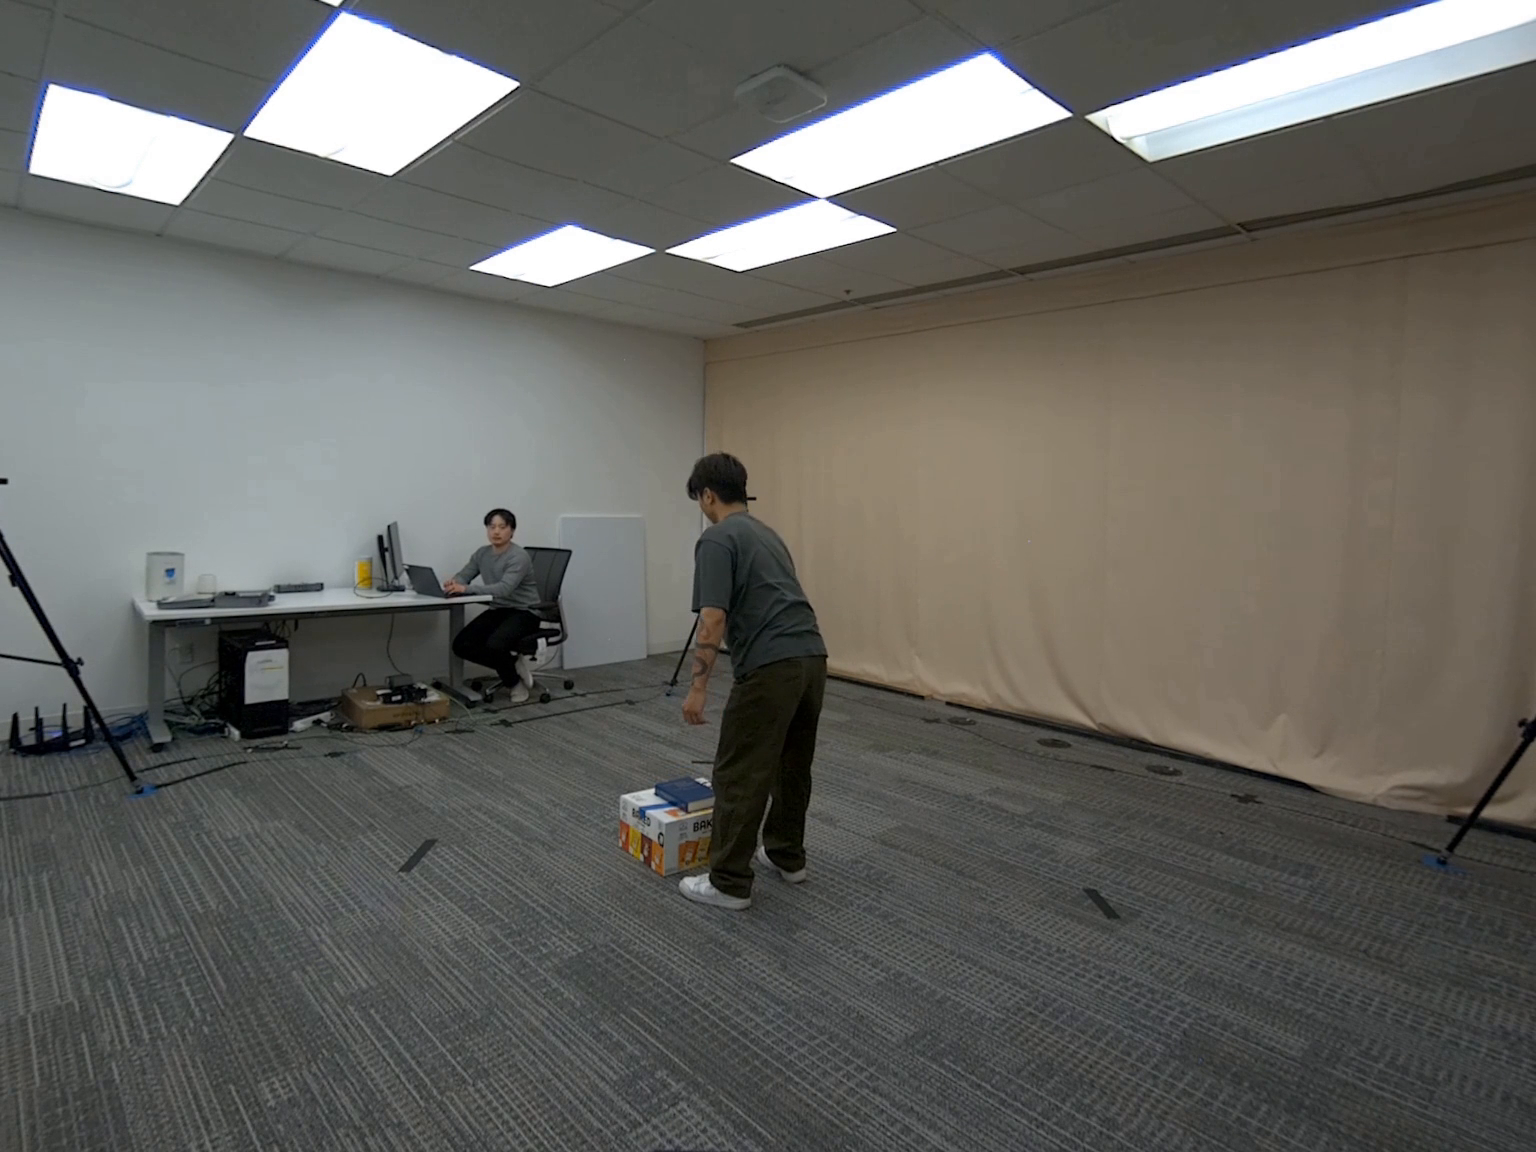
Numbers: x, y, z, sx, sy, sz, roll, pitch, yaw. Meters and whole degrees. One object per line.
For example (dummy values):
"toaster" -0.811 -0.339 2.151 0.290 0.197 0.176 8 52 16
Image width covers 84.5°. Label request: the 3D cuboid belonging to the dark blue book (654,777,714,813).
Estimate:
"dark blue book" -0.324 0.868 3.337 0.160 0.045 0.251 -3 6 -37
